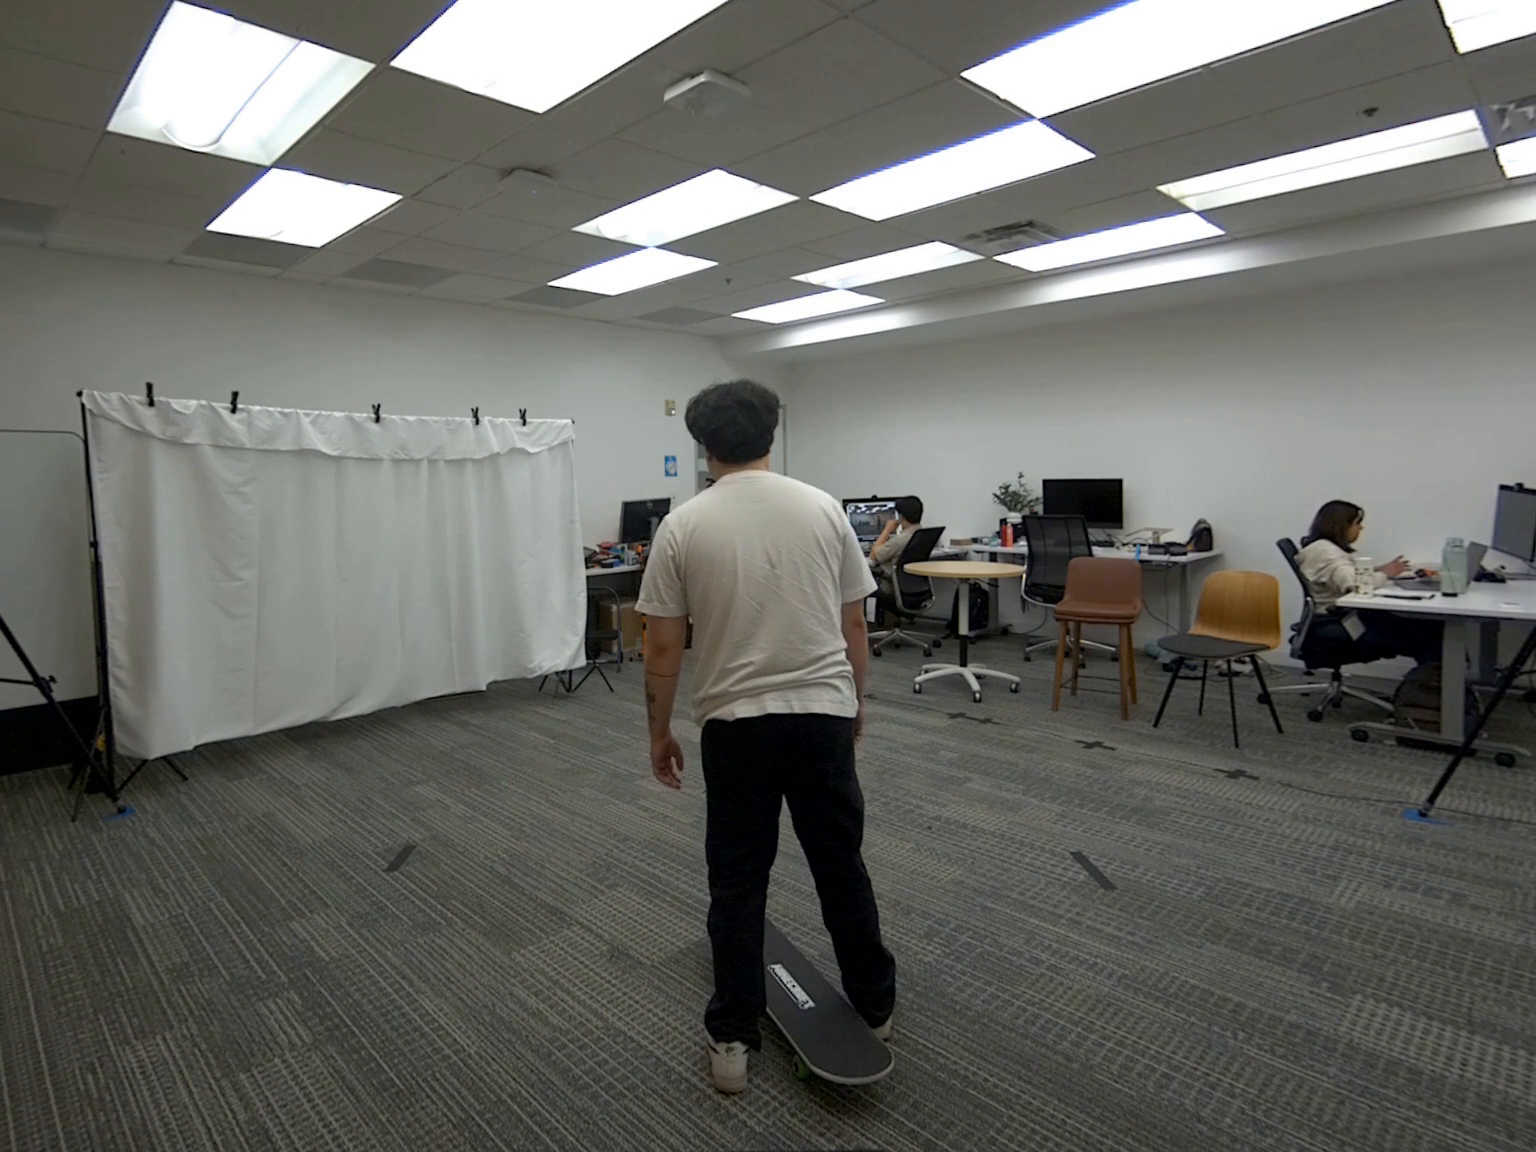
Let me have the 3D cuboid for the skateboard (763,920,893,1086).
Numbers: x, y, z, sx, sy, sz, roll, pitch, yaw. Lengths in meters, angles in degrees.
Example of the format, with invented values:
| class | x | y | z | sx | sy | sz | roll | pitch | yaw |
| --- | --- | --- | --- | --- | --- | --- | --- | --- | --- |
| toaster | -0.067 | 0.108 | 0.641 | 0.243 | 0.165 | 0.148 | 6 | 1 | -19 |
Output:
| class | x | y | z | sx | sy | sz | roll | pitch | yaw |
| --- | --- | --- | --- | --- | --- | --- | --- | --- | --- |
| skateboard | 0.068 | 1.090 | 2.212 | 0.189 | 0.110 | 0.805 | -4 | 7 | -25 |
